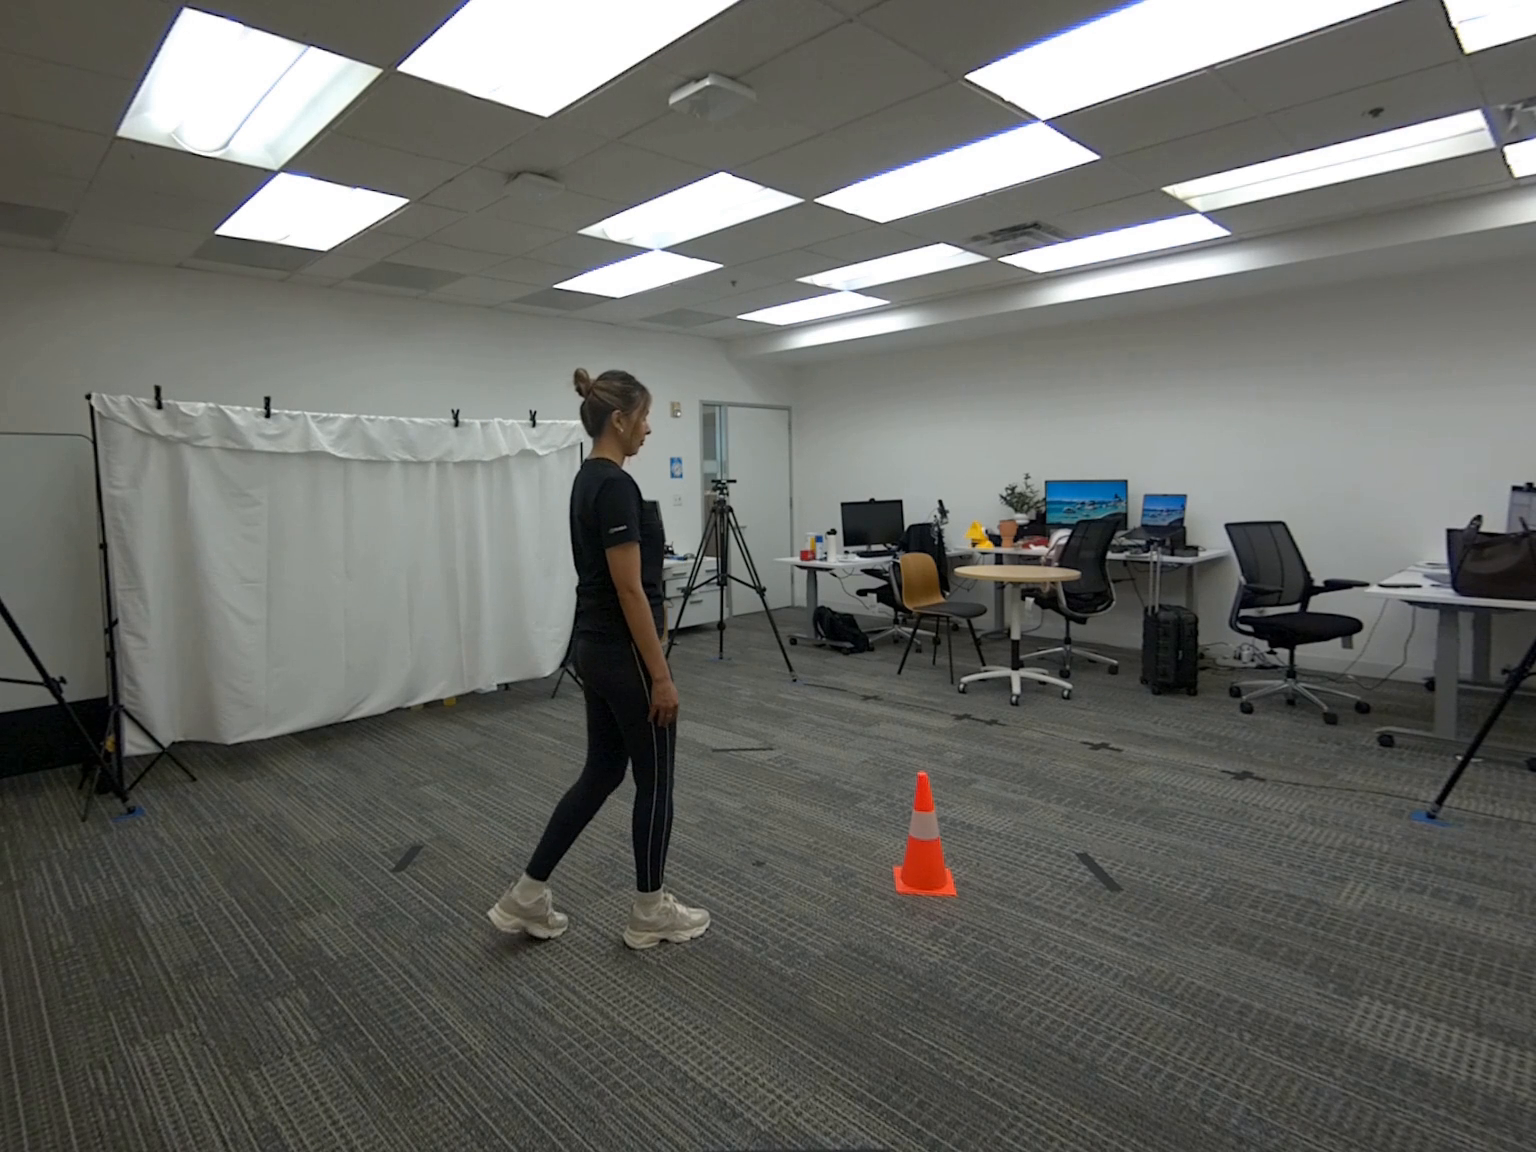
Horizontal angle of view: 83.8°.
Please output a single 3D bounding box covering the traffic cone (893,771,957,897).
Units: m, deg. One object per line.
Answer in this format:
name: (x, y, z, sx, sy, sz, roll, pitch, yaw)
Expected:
traffic cone: (0.540, 0.871, 2.936, 0.205, 0.382, 0.204, -2, 5, 8)
